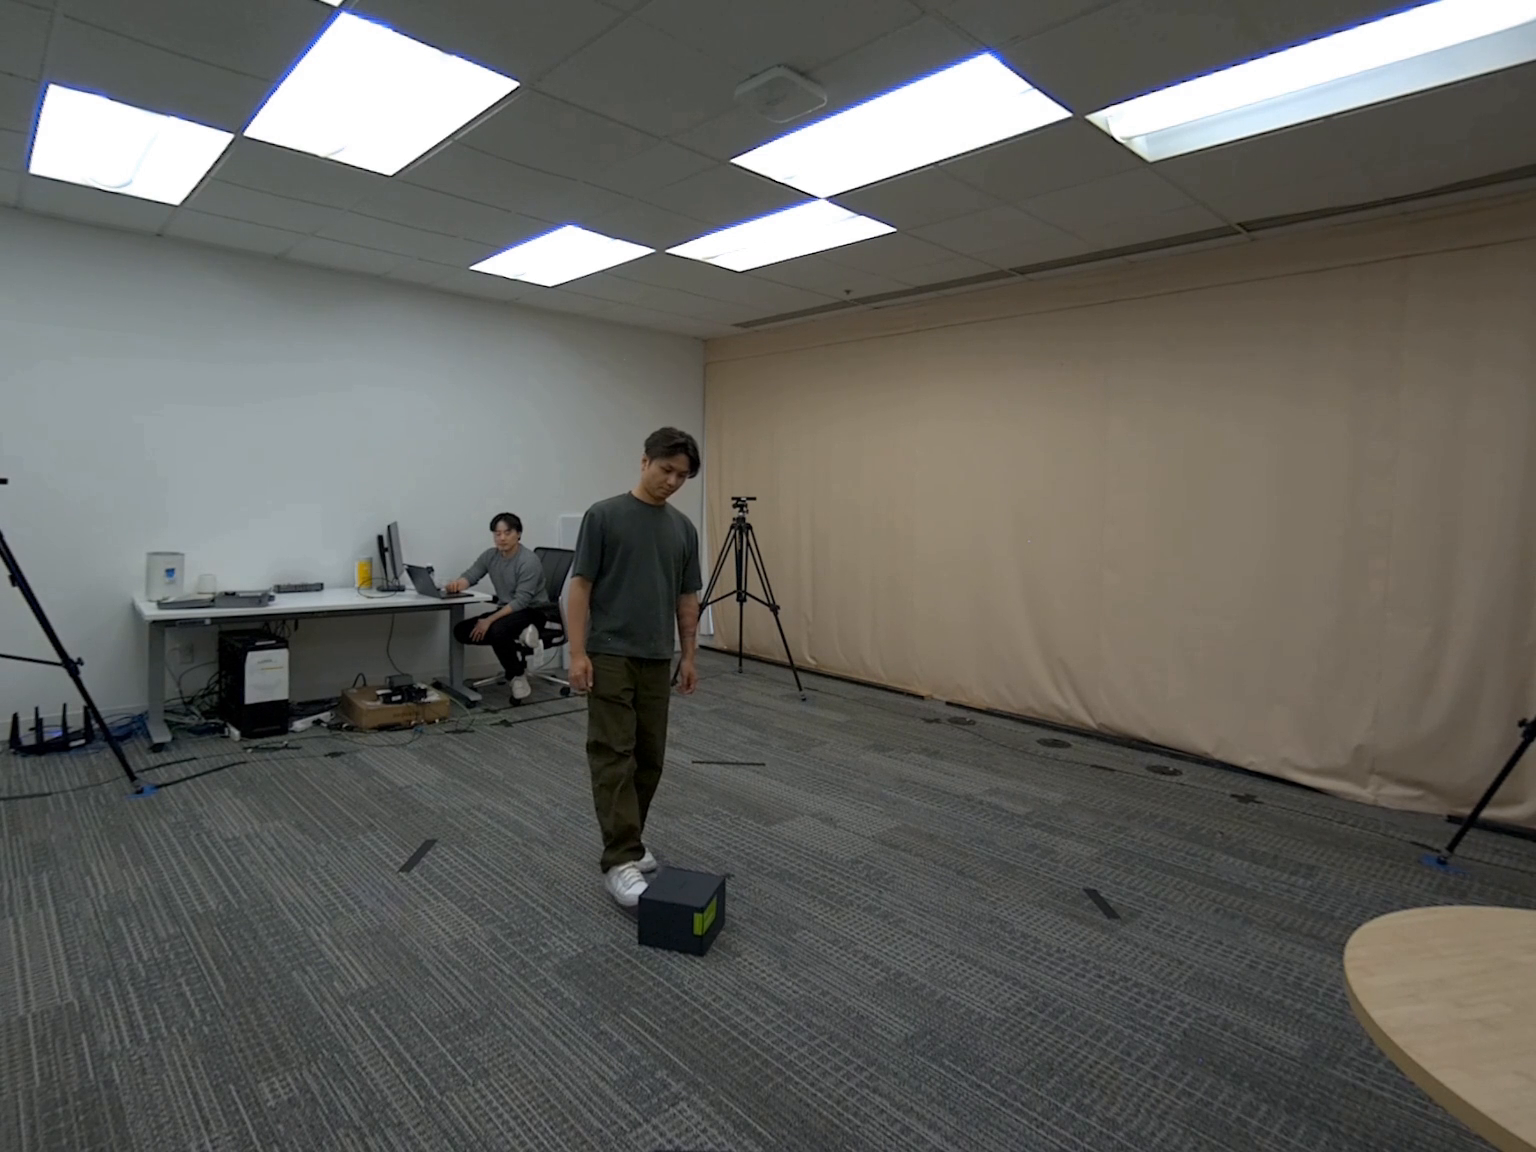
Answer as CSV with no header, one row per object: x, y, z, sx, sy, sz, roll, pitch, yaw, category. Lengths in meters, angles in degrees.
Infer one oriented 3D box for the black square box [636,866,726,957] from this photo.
-0.276,1.058,2.676,0.220,0.155,0.225,3,4,16,black square box
